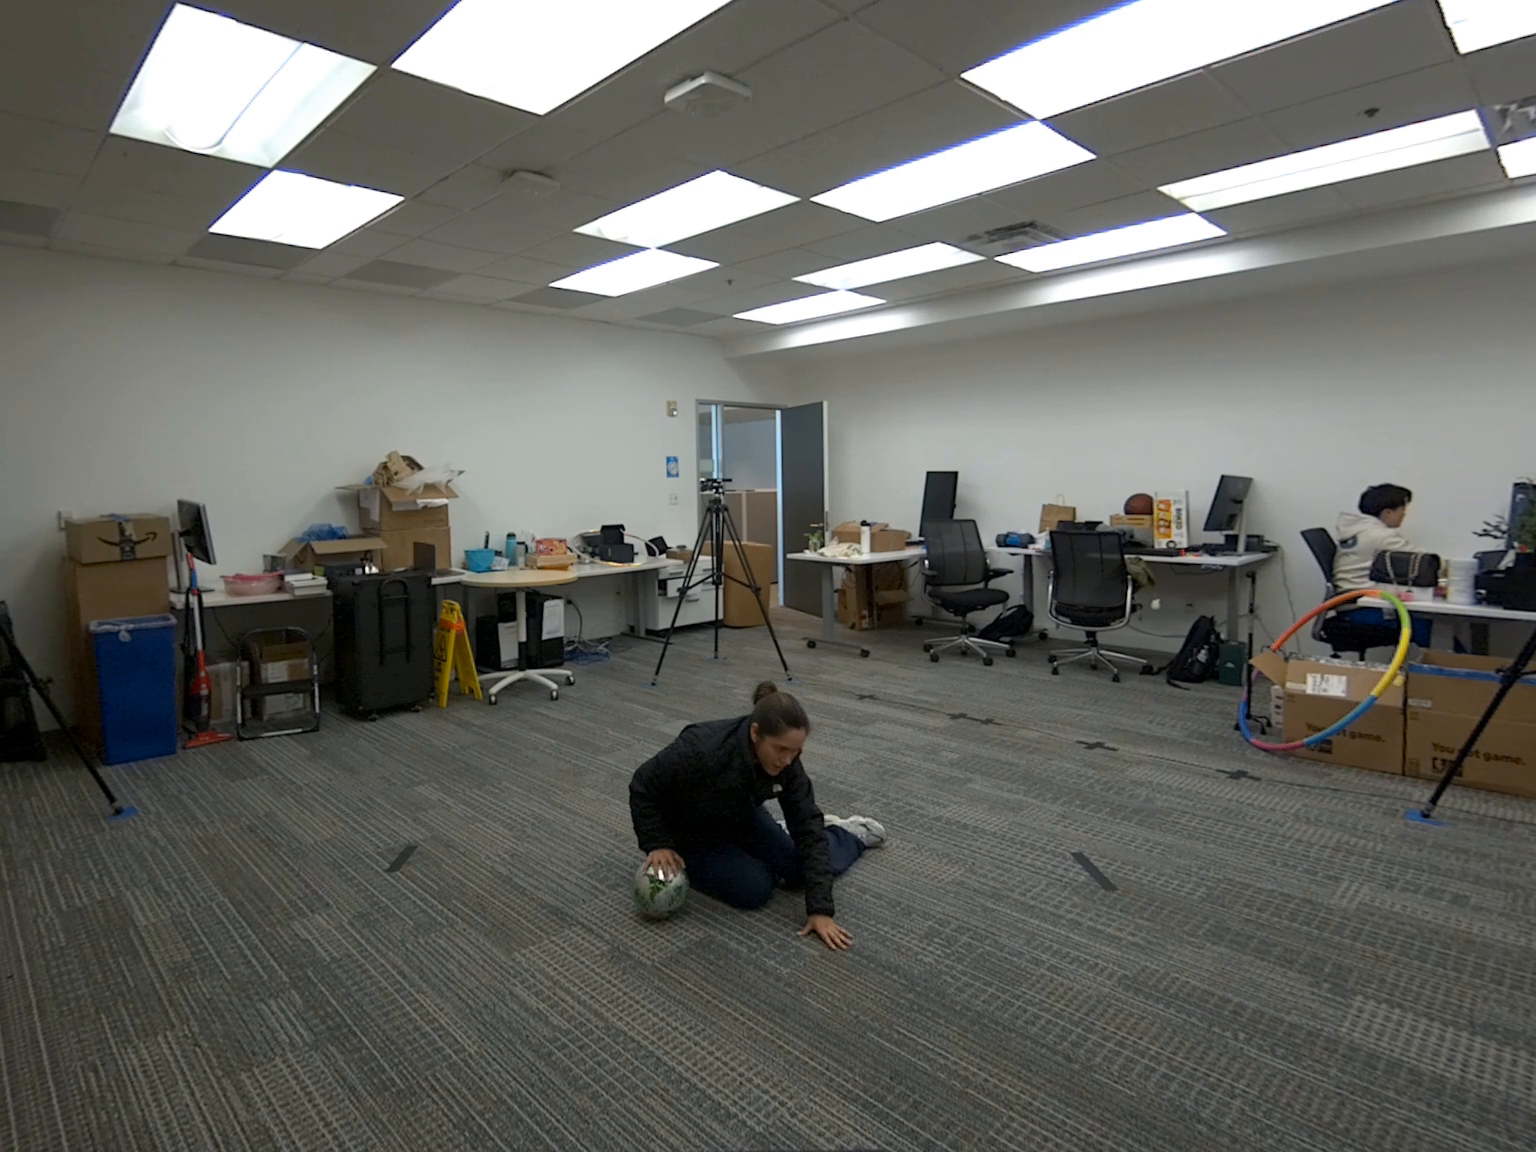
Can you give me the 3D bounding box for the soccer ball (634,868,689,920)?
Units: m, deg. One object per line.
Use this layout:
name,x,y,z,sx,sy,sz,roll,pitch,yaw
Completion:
soccer ball,-0.344,1.000,2.753,0.187,0.187,0.188,-1,5,-2
